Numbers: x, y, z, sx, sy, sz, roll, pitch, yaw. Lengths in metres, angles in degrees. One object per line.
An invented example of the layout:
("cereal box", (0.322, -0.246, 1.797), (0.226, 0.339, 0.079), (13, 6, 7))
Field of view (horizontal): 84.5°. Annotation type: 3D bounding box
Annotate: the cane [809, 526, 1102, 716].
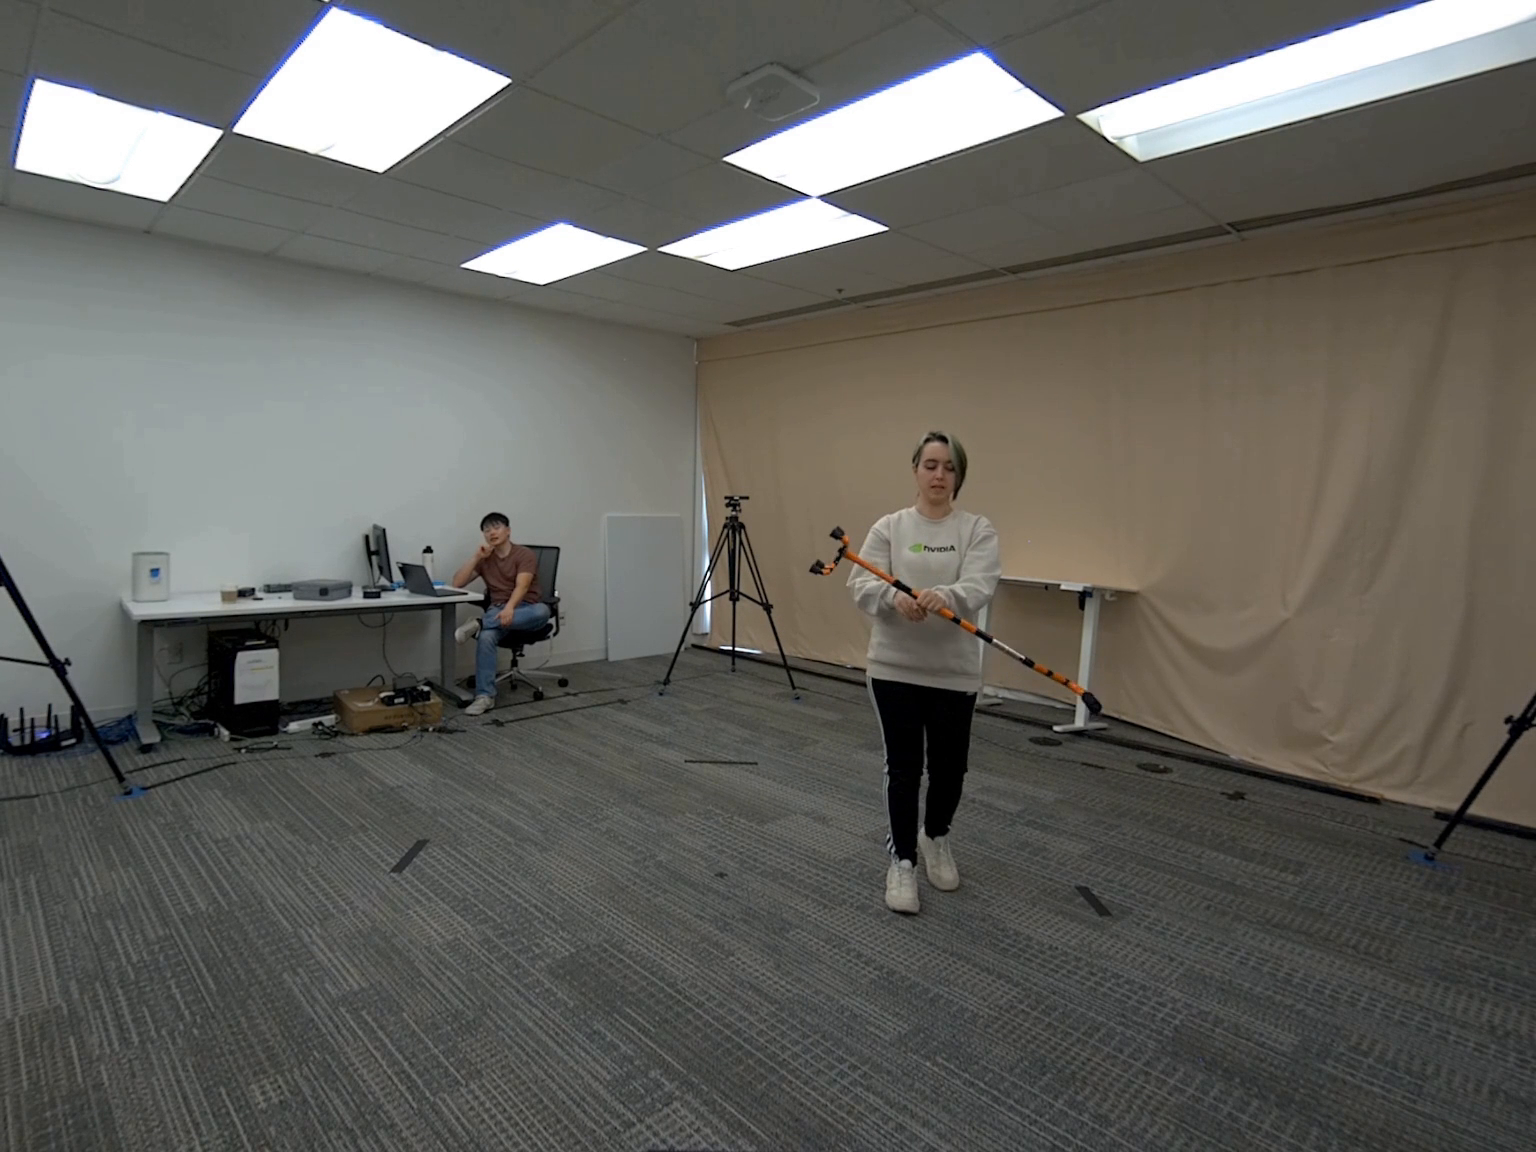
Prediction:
("cane", (0.559, 0.150, 2.535), (0.915, 0.151, 0.205), (32, 8, 7))
